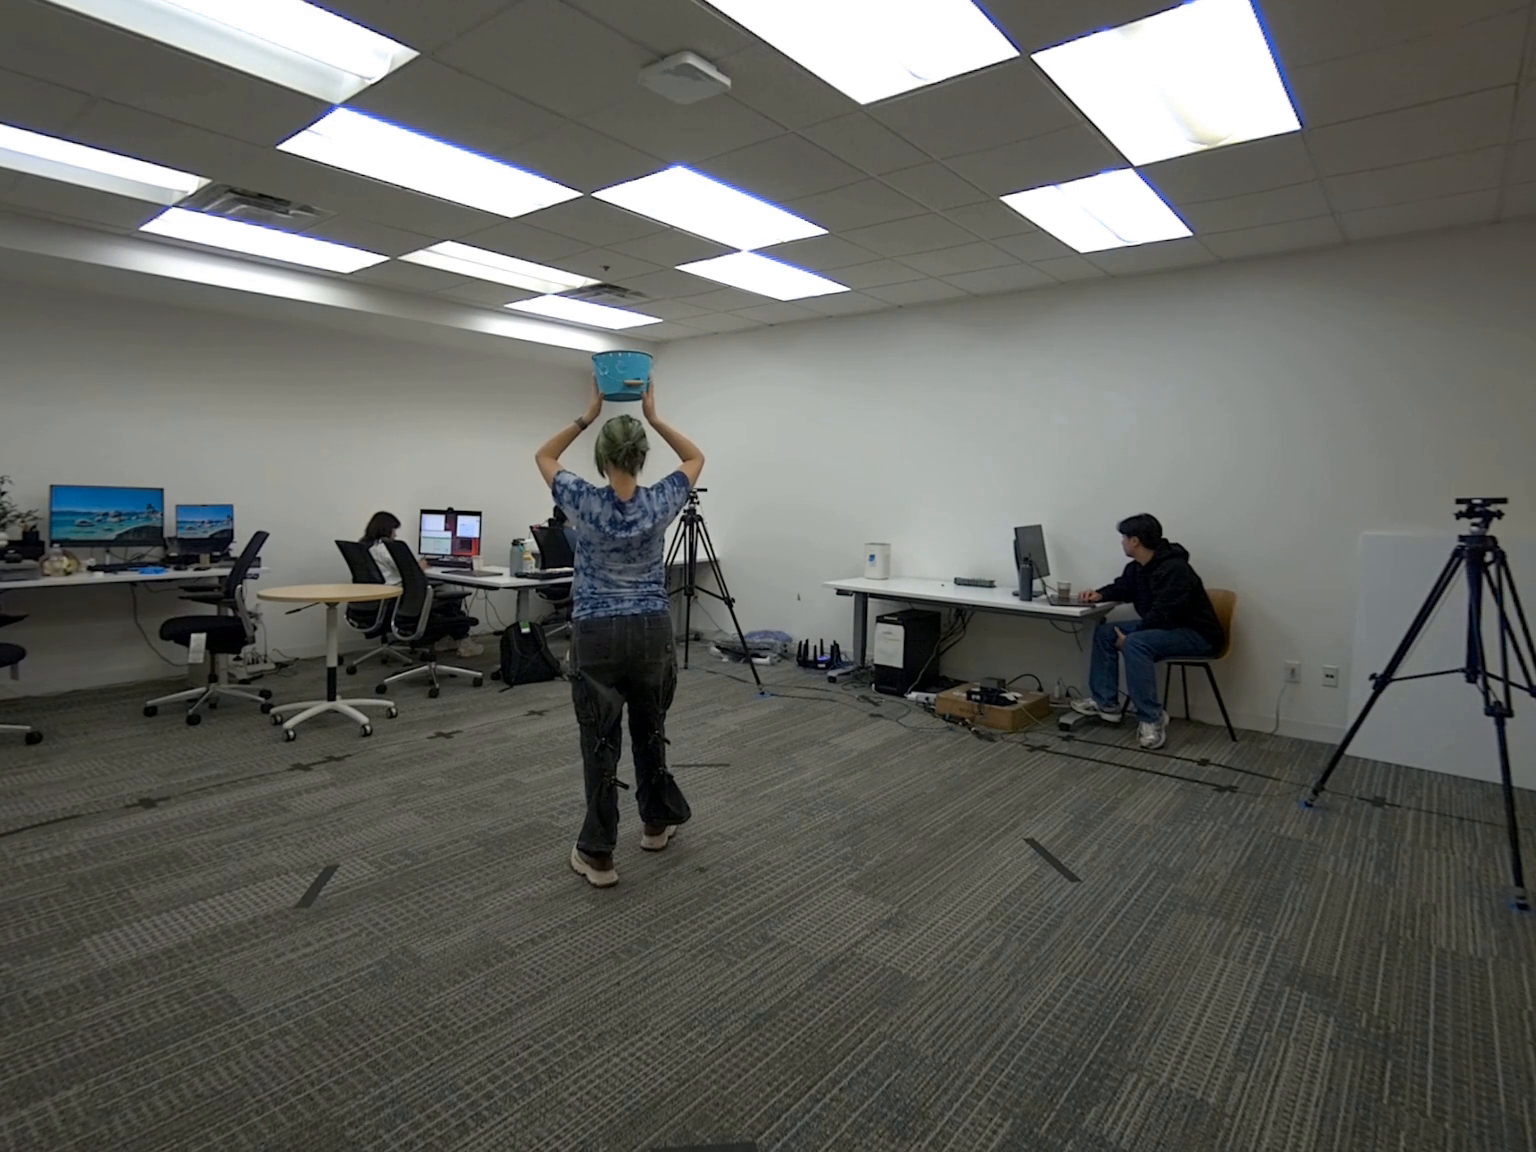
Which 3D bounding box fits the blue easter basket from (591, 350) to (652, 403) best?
[{"bbox_3d":[-0.563,-0.751,3.180,0.243,0.156,0.244,-2,2,-2],"label":"blue easter basket"}]
